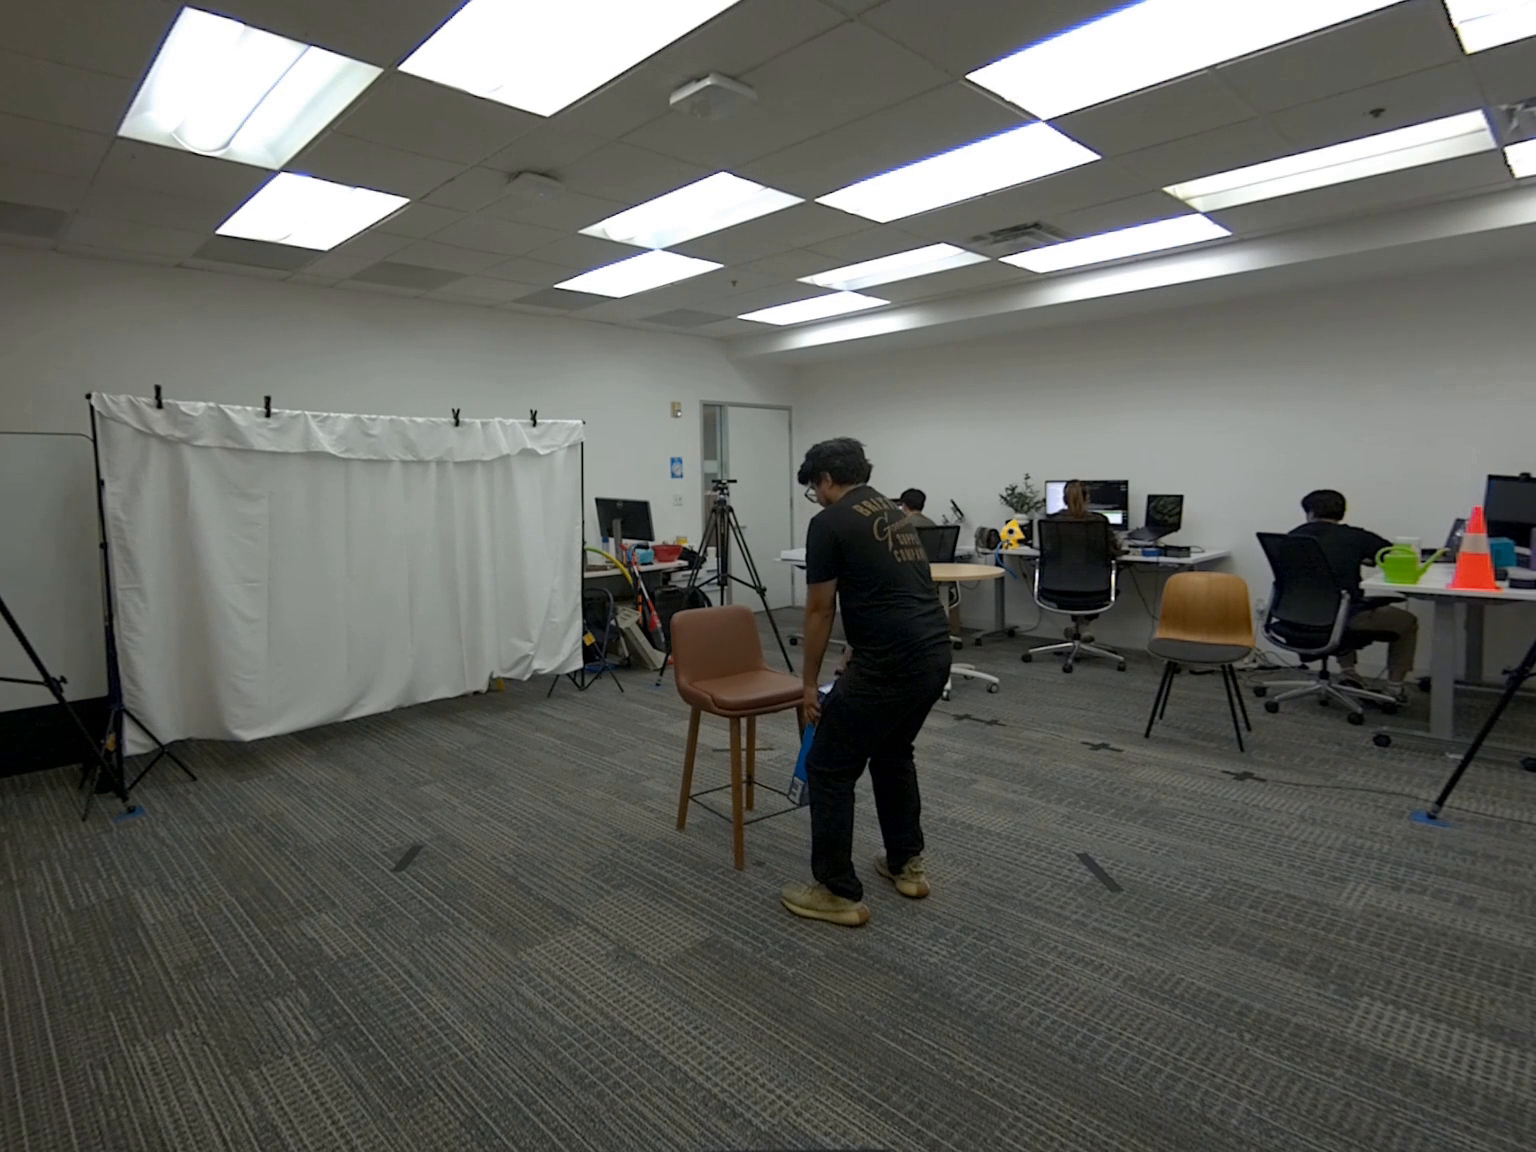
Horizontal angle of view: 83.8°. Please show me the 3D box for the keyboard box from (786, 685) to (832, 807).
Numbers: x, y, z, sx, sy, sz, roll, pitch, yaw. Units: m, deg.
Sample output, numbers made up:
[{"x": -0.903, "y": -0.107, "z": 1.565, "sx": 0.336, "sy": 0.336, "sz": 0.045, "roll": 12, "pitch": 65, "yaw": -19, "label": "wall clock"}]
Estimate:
[{"x": 0.191, "y": 0.581, "z": 2.952, "sx": 0.061, "sy": 0.432, "sz": 0.172, "roll": 24, "pitch": 20, "yaw": 34, "label": "keyboard box"}]
